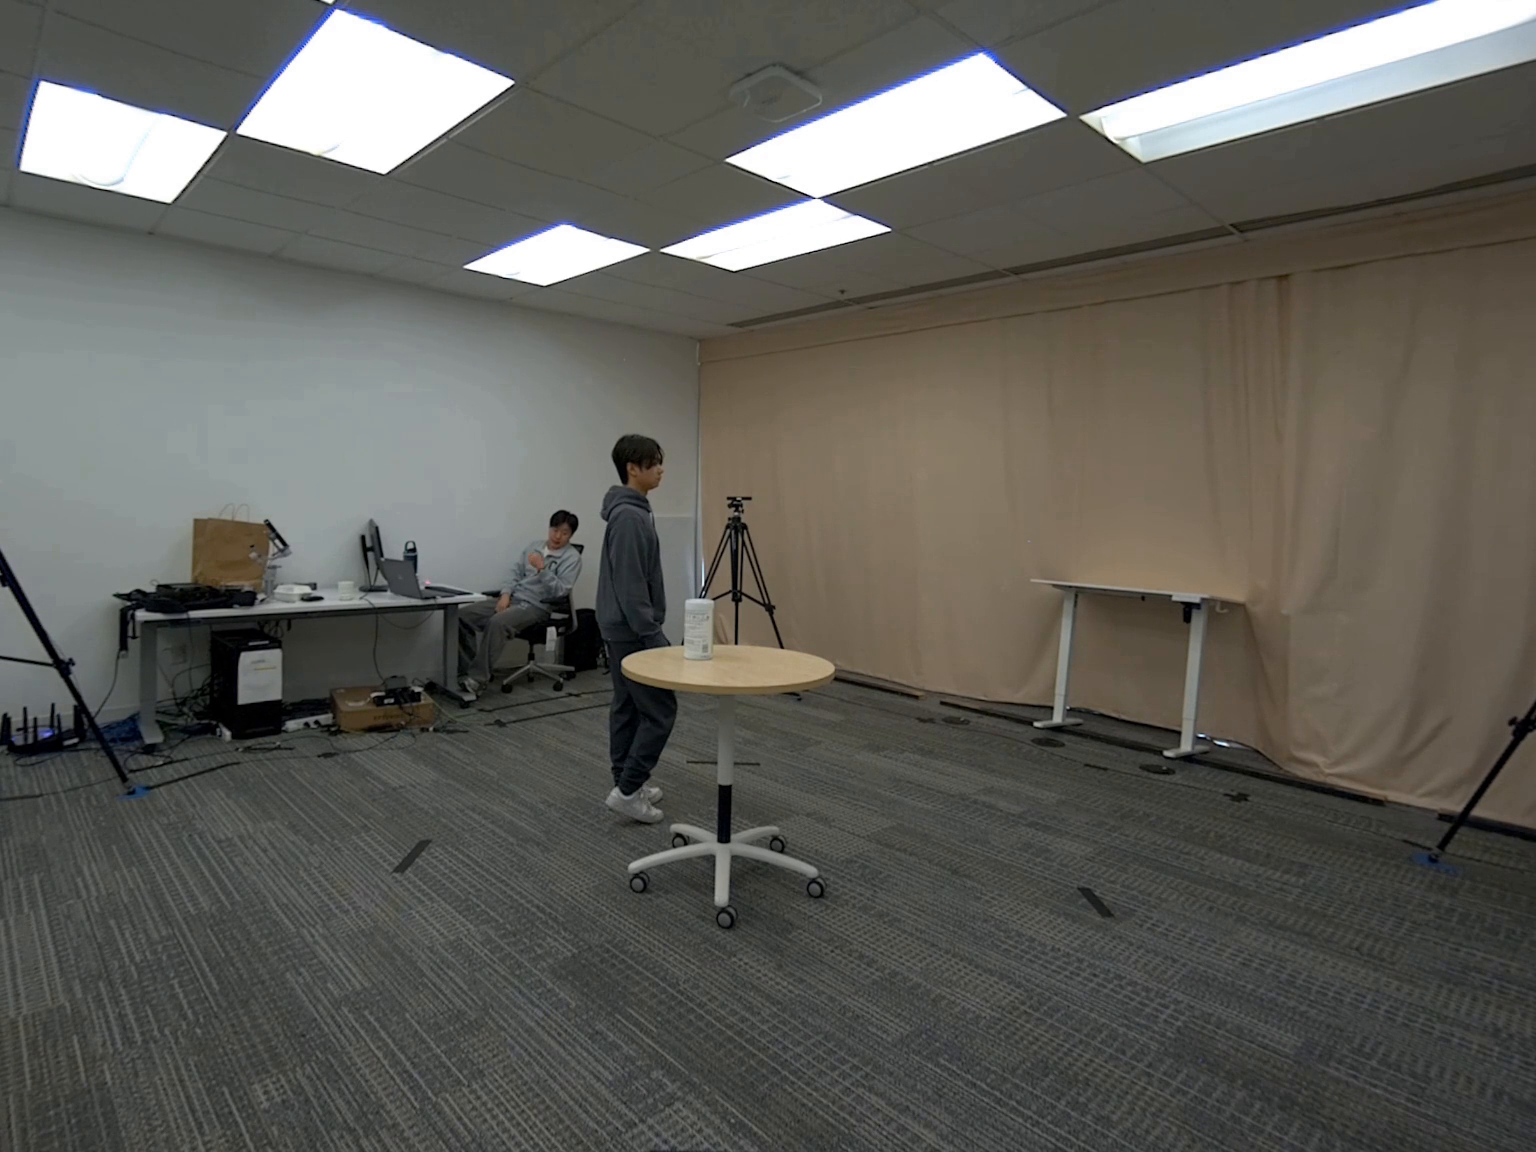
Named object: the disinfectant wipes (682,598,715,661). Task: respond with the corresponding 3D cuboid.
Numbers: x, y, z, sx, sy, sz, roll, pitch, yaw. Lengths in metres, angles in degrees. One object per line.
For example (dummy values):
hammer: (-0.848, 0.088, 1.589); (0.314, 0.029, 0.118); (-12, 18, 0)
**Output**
disinfectant wipes: (-0.261, 0.200, 3.116); (0.118, 0.217, 0.118); (1, 2, -1)
